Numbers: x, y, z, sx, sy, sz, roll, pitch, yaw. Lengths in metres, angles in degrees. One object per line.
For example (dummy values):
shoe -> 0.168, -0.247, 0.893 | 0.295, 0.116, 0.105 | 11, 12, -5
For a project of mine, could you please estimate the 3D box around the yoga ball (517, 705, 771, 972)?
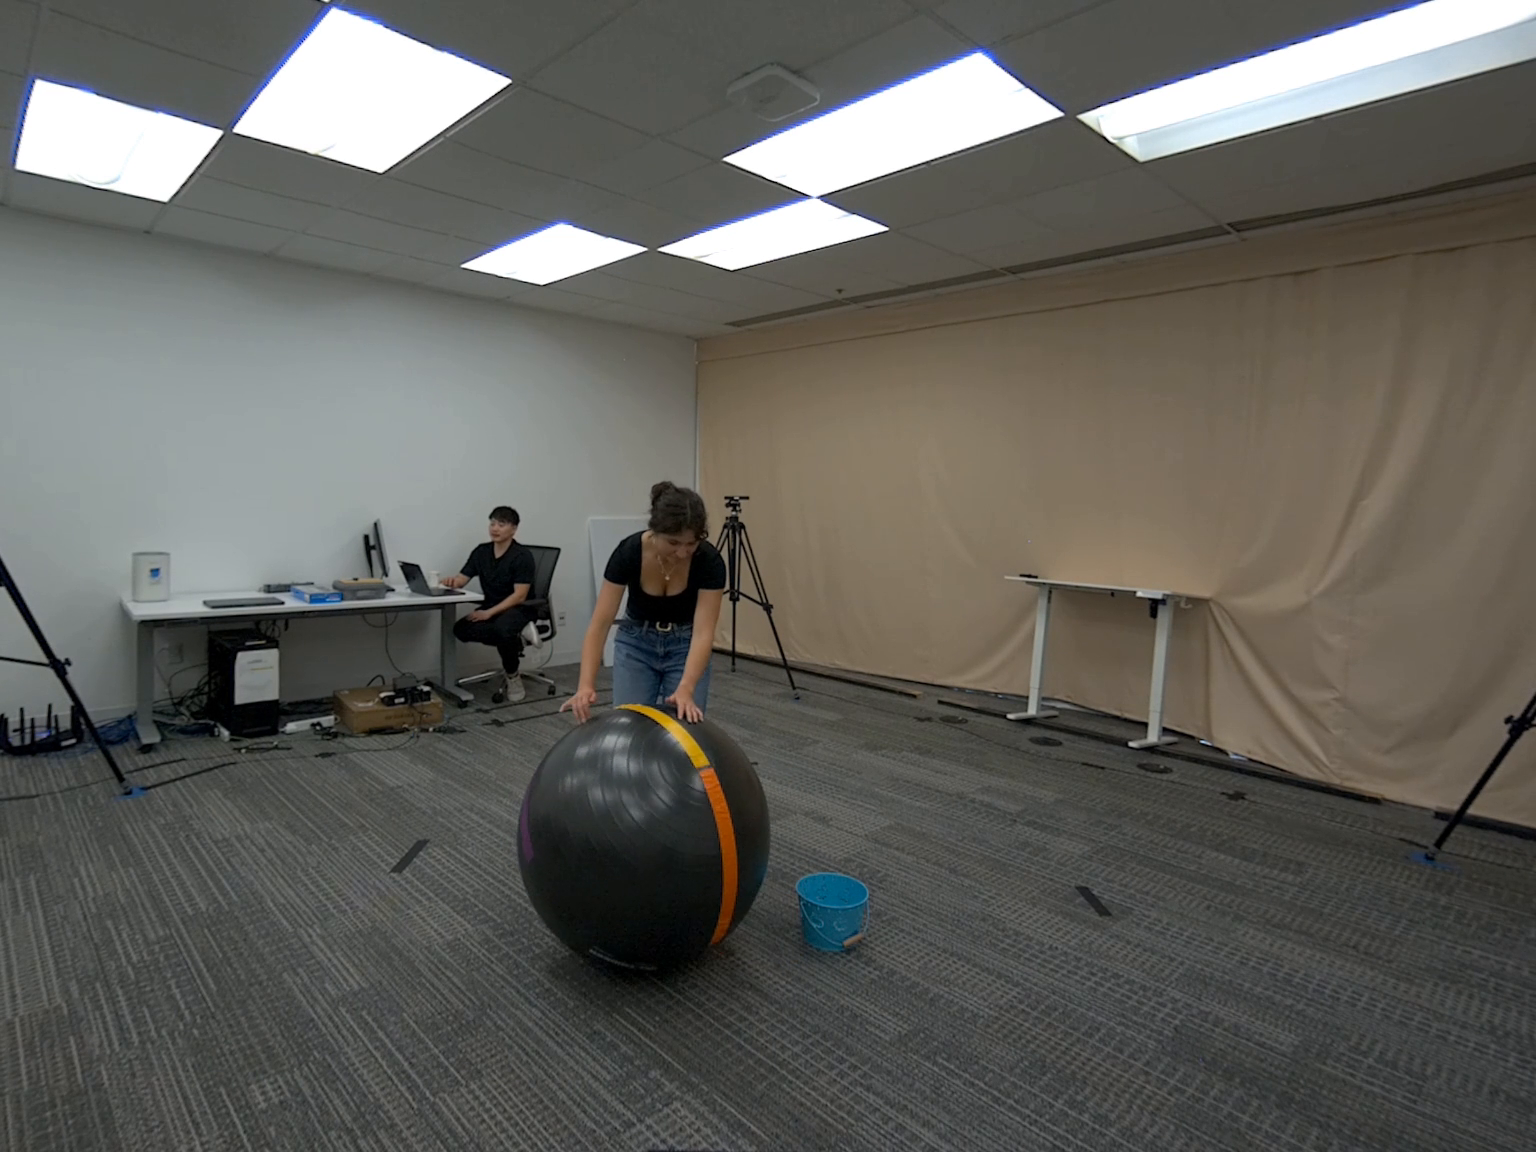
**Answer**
yoga ball -> -0.378, 0.782, 2.535 | 0.757, 0.756, 0.761 | 1, 4, -1
